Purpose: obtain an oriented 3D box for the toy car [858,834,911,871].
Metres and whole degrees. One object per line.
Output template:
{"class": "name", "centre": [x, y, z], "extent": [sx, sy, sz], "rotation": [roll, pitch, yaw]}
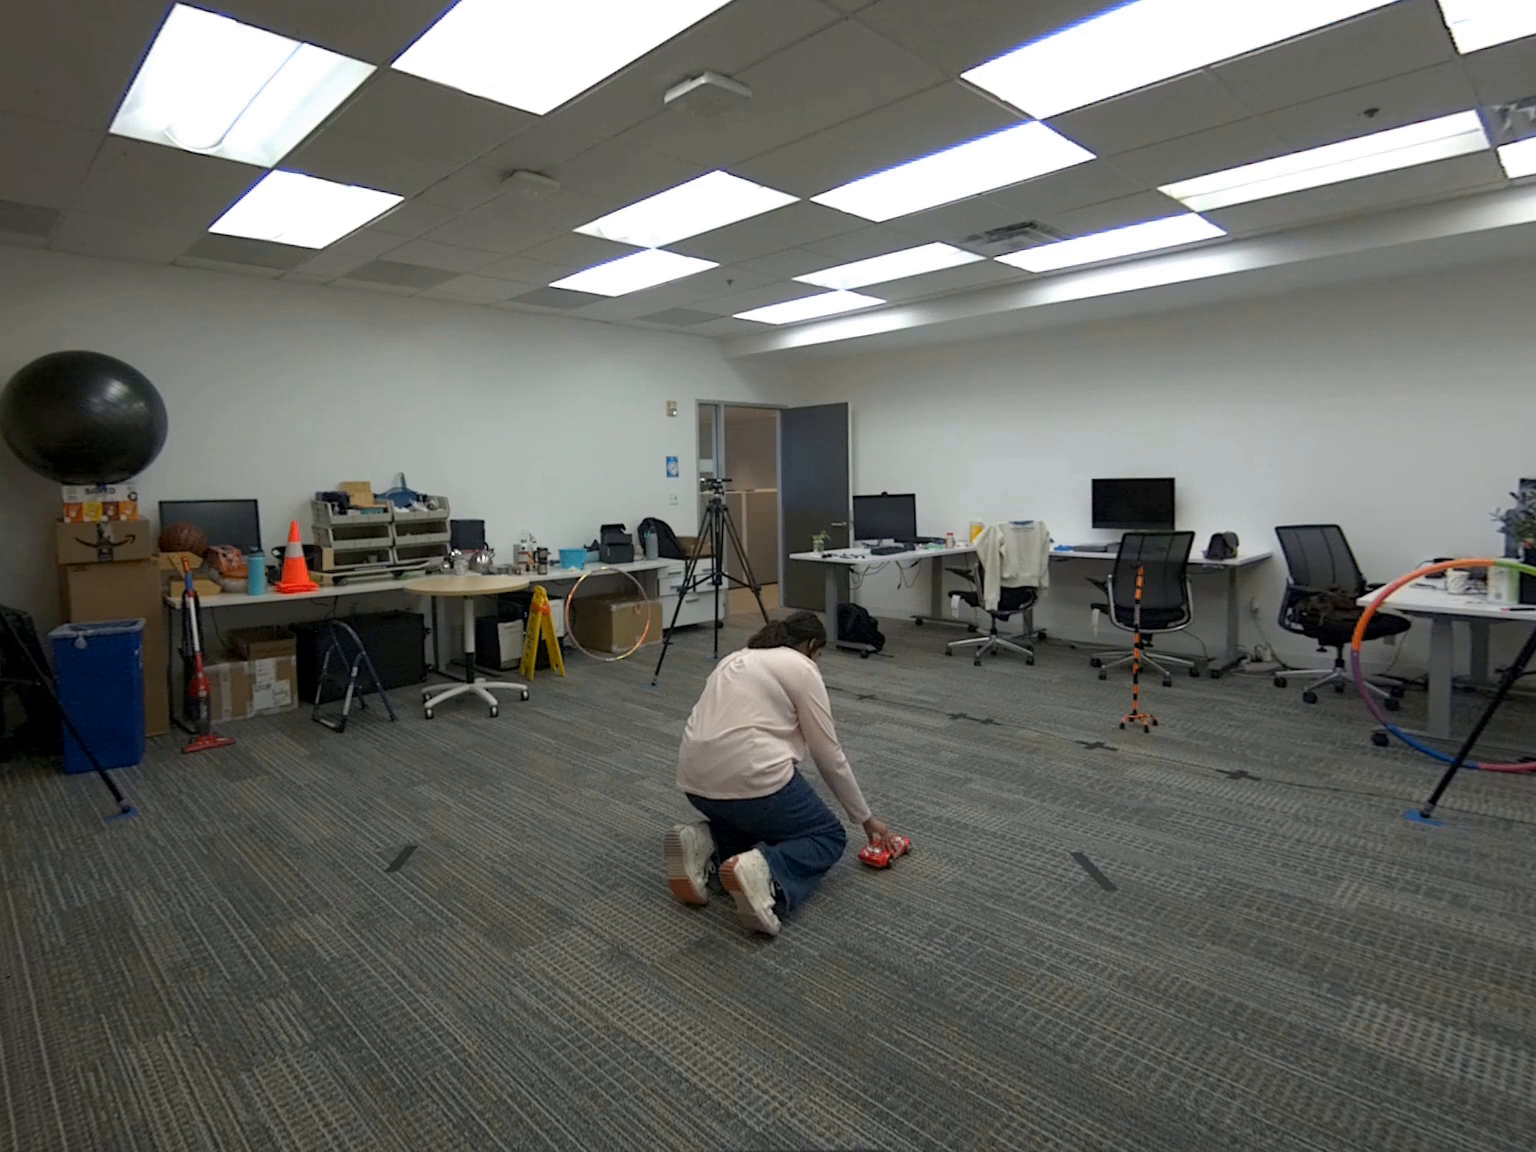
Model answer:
{"class": "toy car", "centre": [0.419, 0.999, 3.113], "extent": [0.134, 0.083, 0.246], "rotation": [4, -3, 38]}
